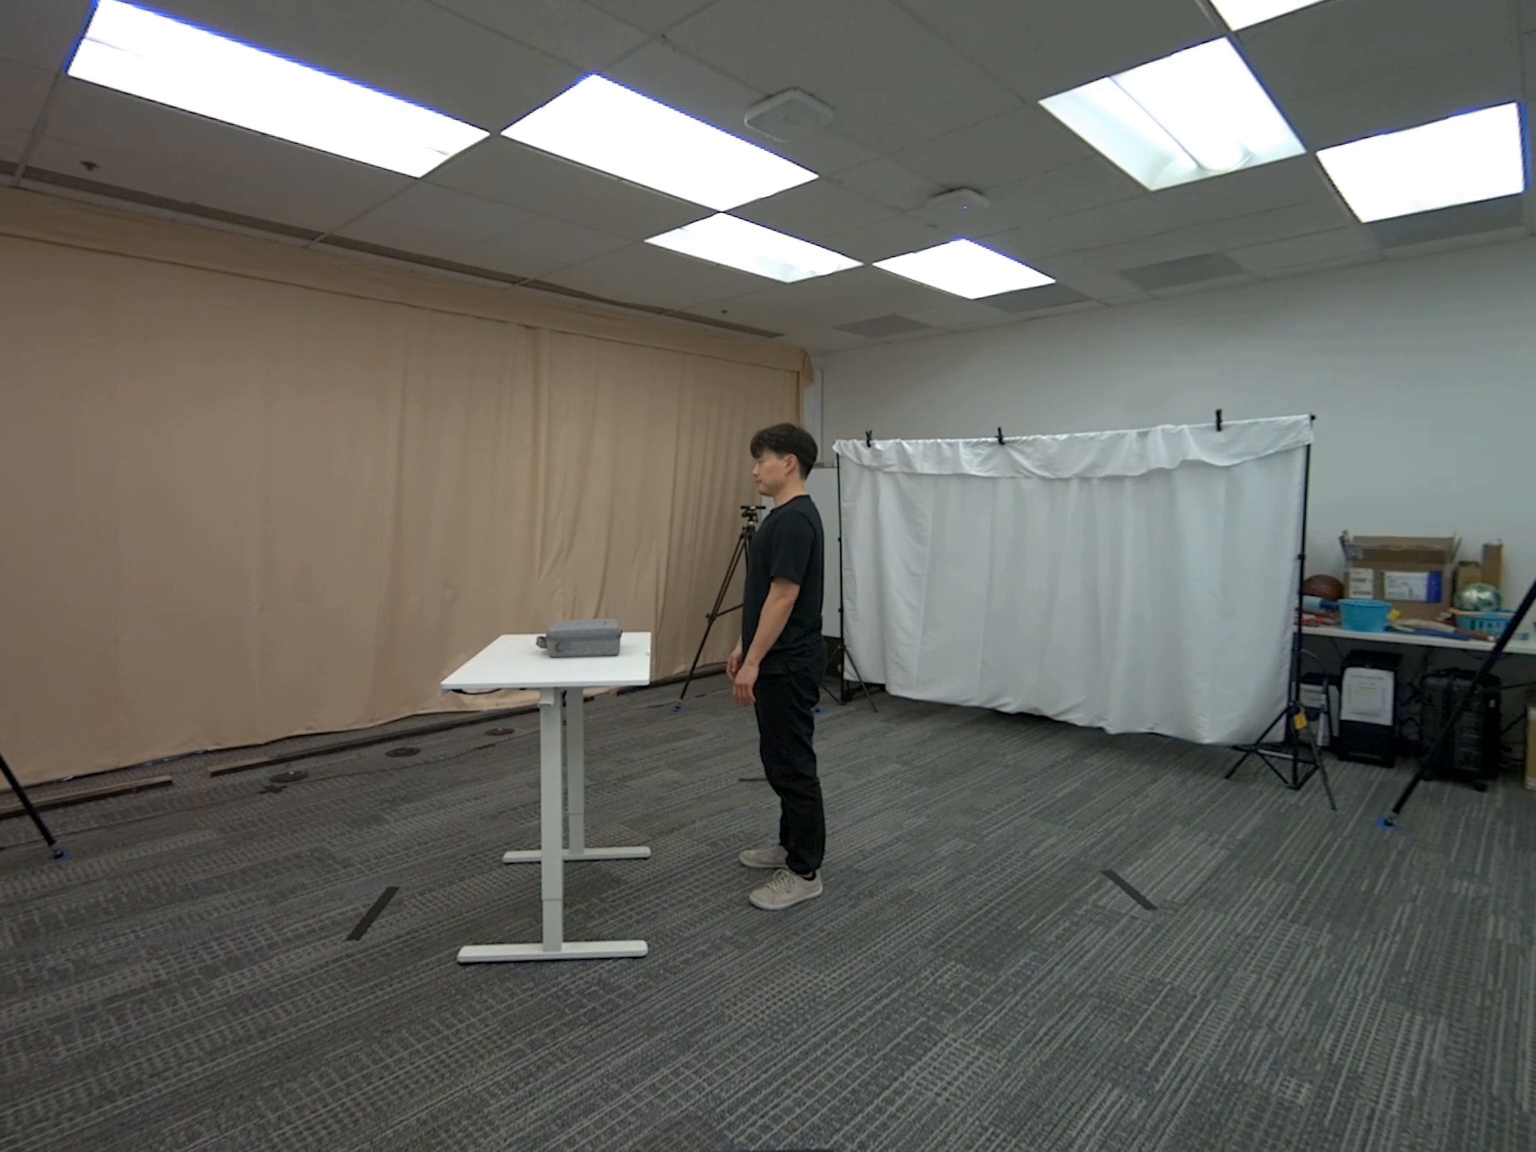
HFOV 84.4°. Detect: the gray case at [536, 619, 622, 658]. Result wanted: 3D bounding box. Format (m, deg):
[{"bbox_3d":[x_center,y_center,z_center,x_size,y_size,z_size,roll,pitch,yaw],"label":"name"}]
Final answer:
[{"bbox_3d":[-0.657,0.216,2.987,0.258,0.104,0.260,-3,6,-10],"label":"gray case"}]
